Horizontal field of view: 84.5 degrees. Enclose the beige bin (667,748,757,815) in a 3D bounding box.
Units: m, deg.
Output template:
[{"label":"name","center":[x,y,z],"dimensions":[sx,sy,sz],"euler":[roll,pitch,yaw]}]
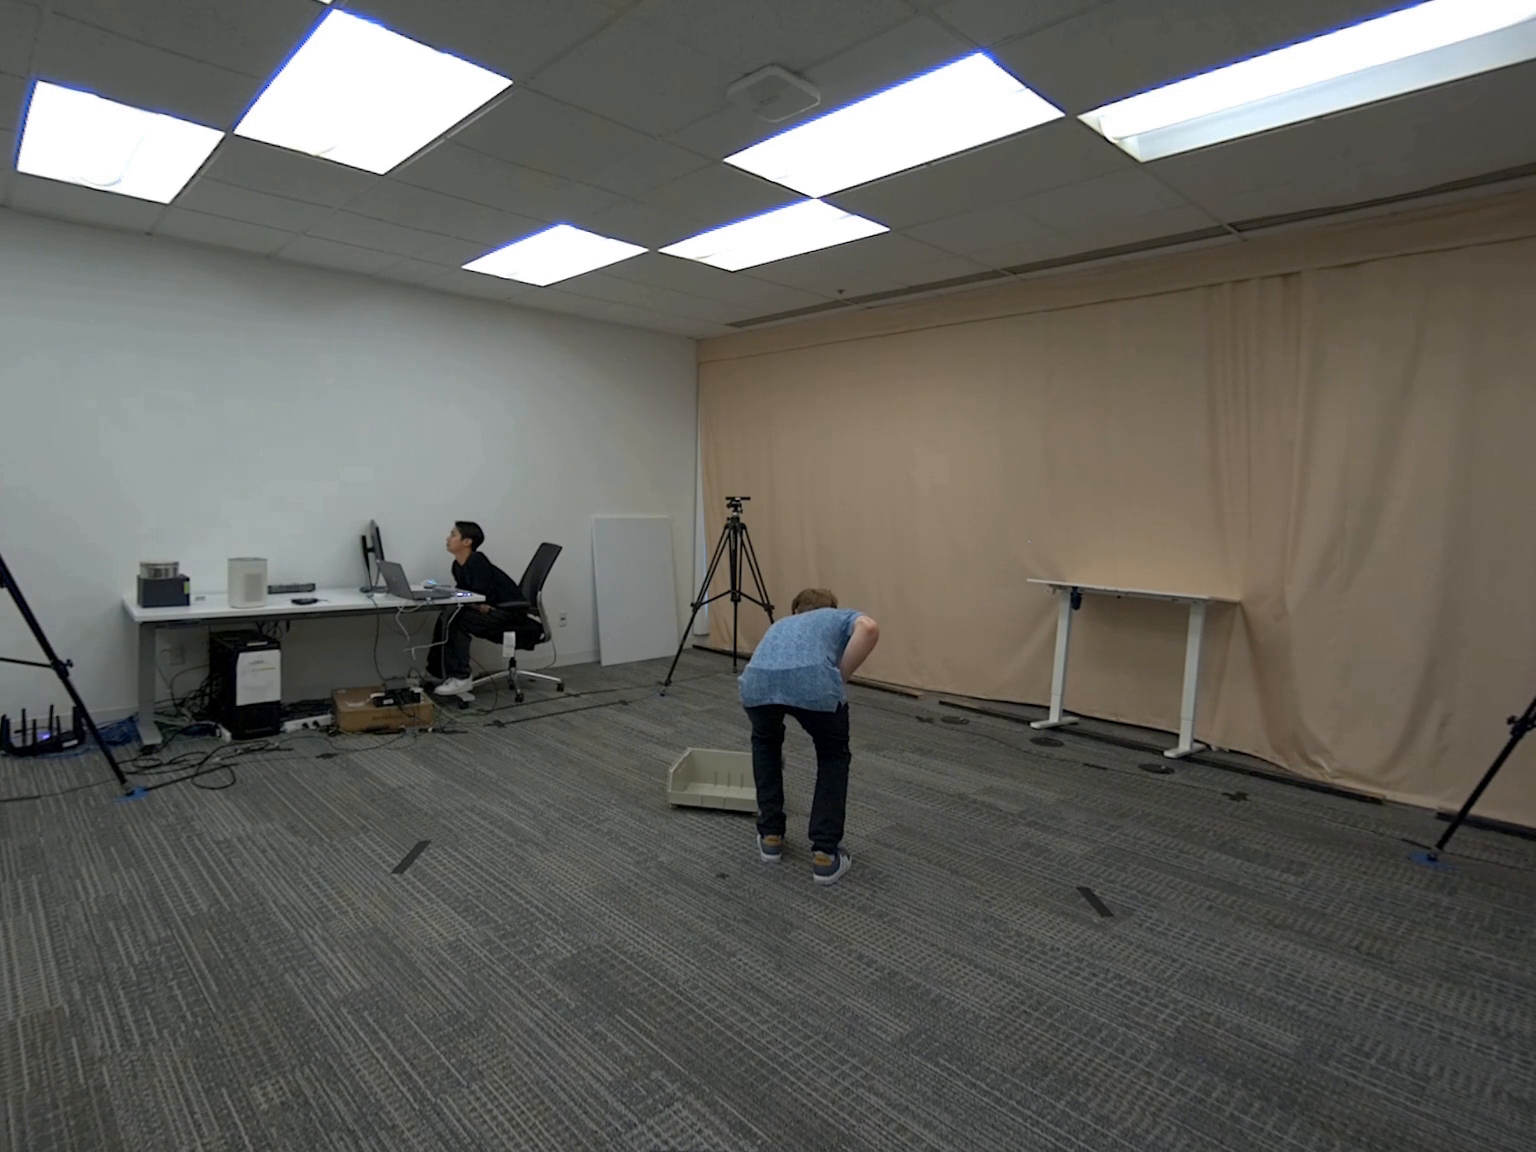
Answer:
[{"label":"beige bin","center":[-0.222,0.948,3.877],"dimensions":[0.426,0.188,0.375],"euler":[2,4,10]}]
